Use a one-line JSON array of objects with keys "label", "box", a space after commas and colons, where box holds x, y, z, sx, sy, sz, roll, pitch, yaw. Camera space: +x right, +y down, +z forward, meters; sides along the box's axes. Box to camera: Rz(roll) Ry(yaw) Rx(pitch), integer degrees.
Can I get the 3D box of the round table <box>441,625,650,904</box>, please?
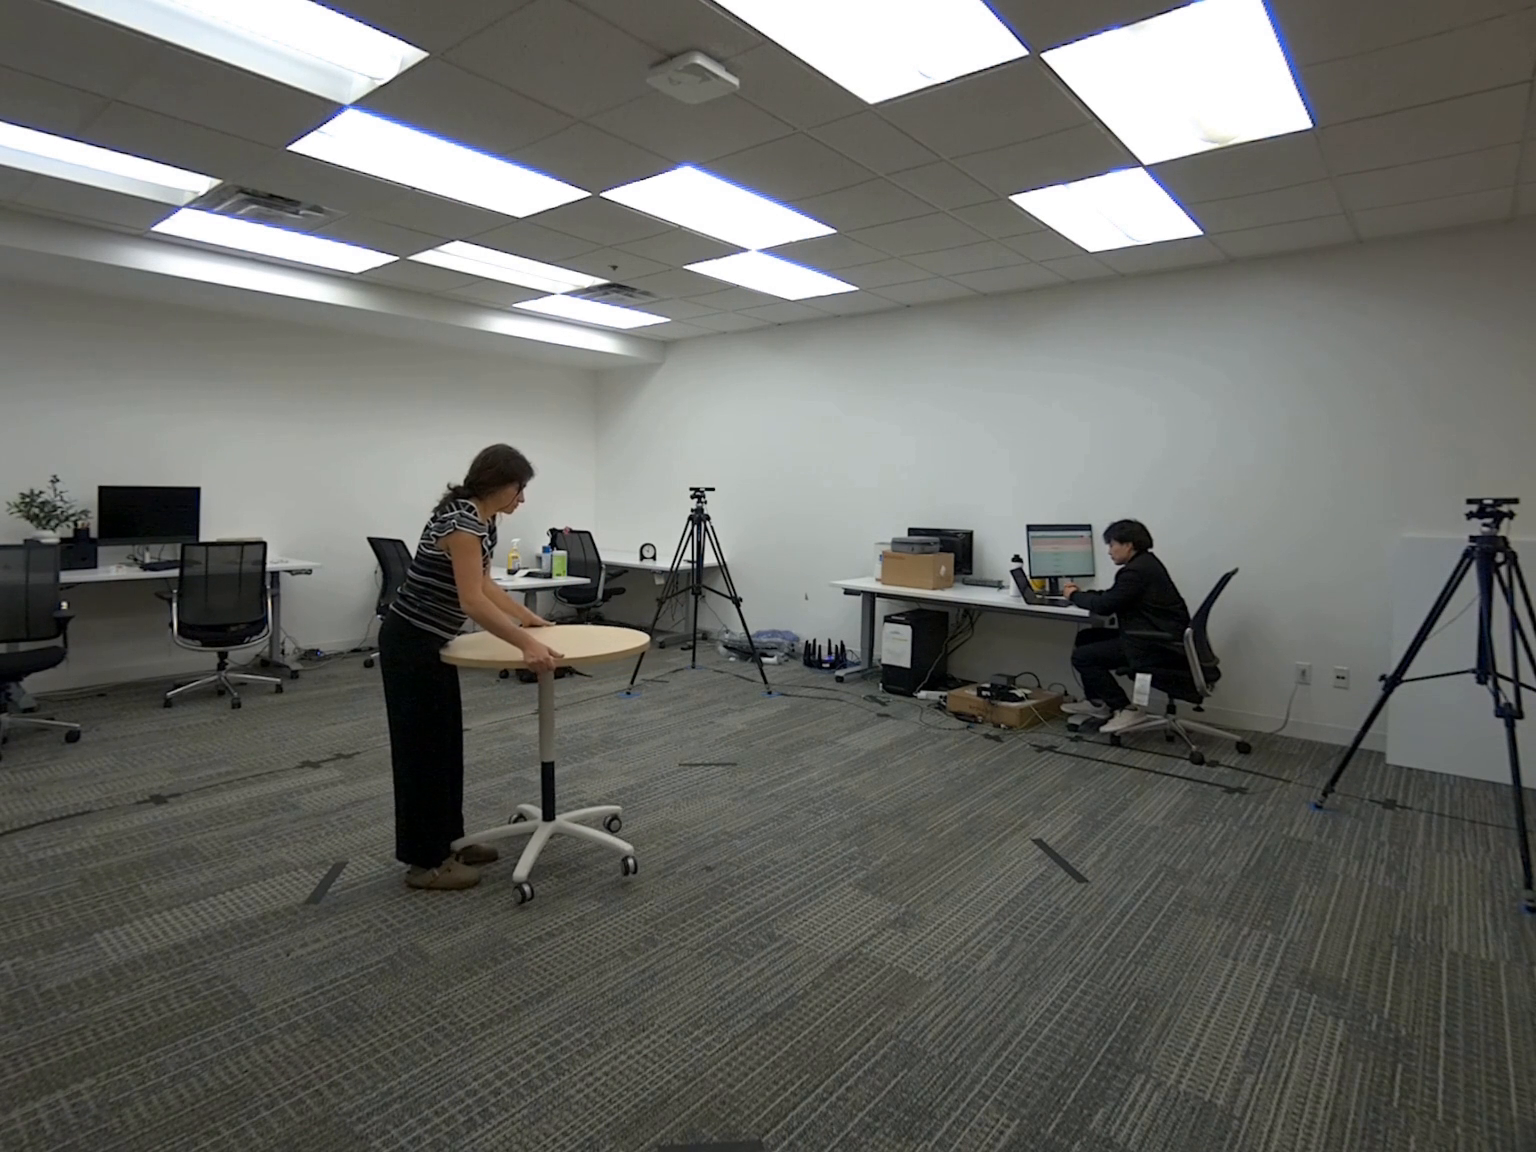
[{"label": "round table", "box": [-0.810, 0.636, 3.111, 0.763, 0.792, 0.767, -1, 4, -2]}]
